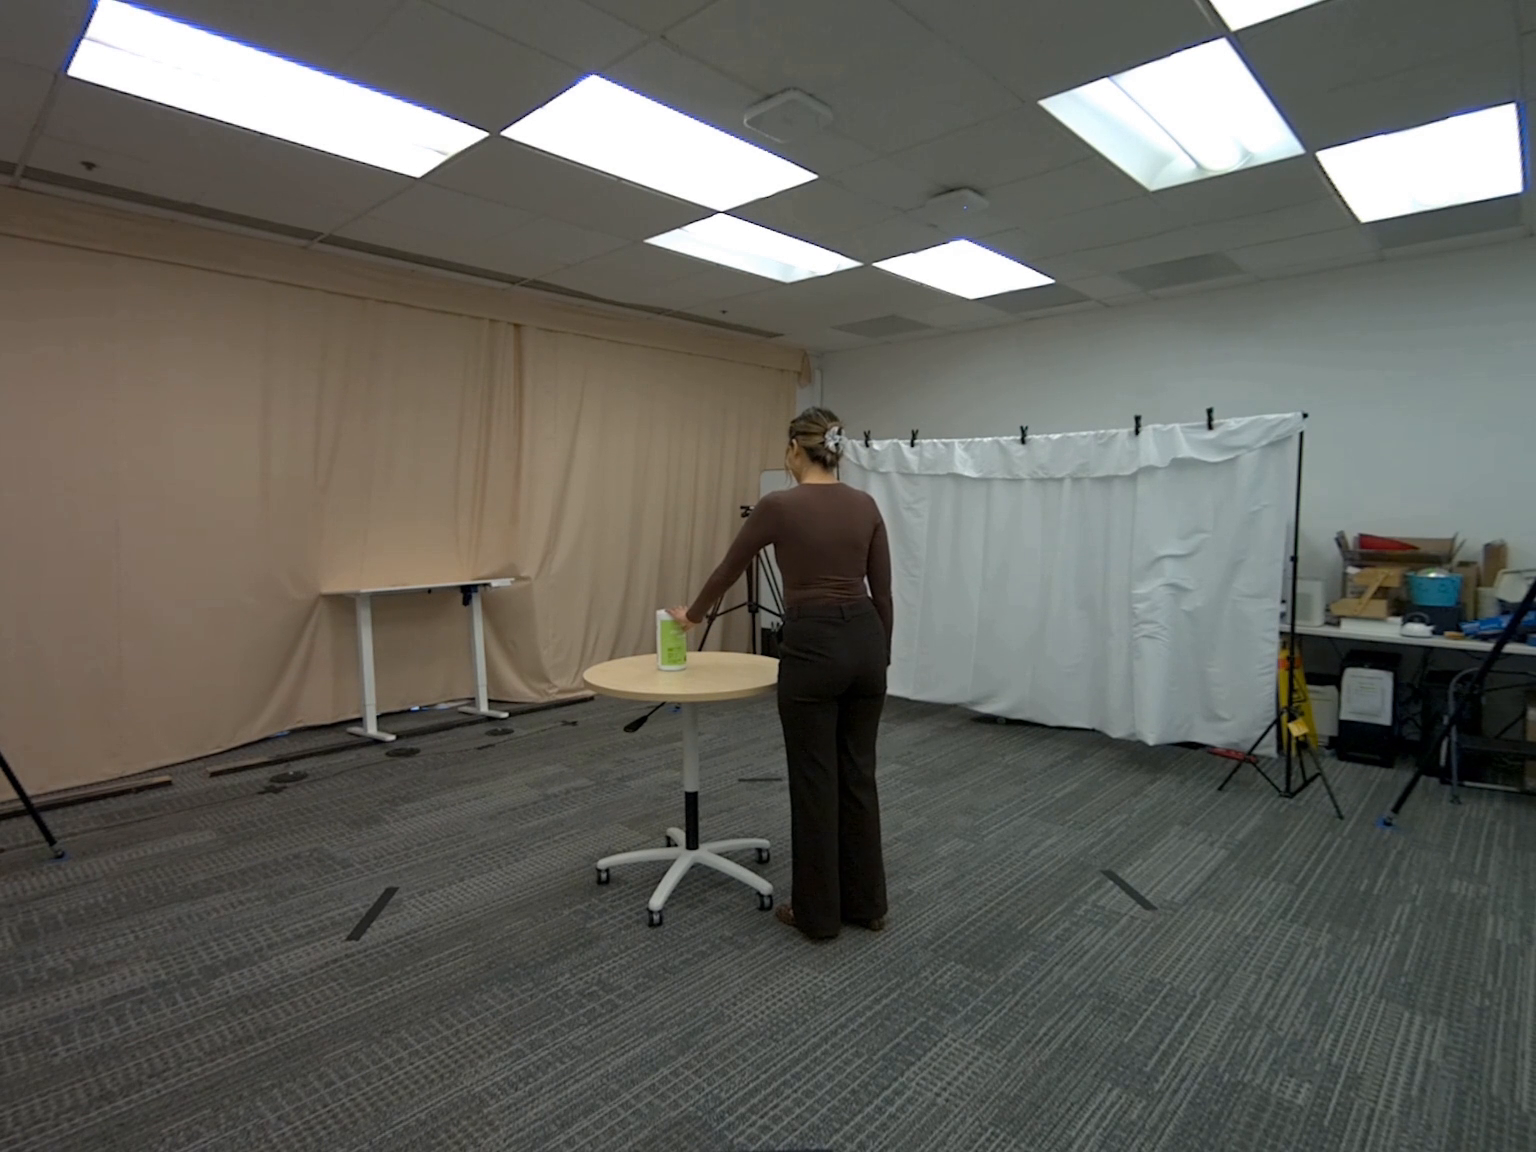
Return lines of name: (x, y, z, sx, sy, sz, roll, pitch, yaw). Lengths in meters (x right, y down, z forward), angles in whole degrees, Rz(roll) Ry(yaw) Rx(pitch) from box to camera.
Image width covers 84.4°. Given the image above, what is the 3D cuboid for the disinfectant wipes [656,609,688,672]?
disinfectant wipes: (-0.355, 0.235, 3.089, 0.117, 0.217, 0.118, 1, 4, -2)
